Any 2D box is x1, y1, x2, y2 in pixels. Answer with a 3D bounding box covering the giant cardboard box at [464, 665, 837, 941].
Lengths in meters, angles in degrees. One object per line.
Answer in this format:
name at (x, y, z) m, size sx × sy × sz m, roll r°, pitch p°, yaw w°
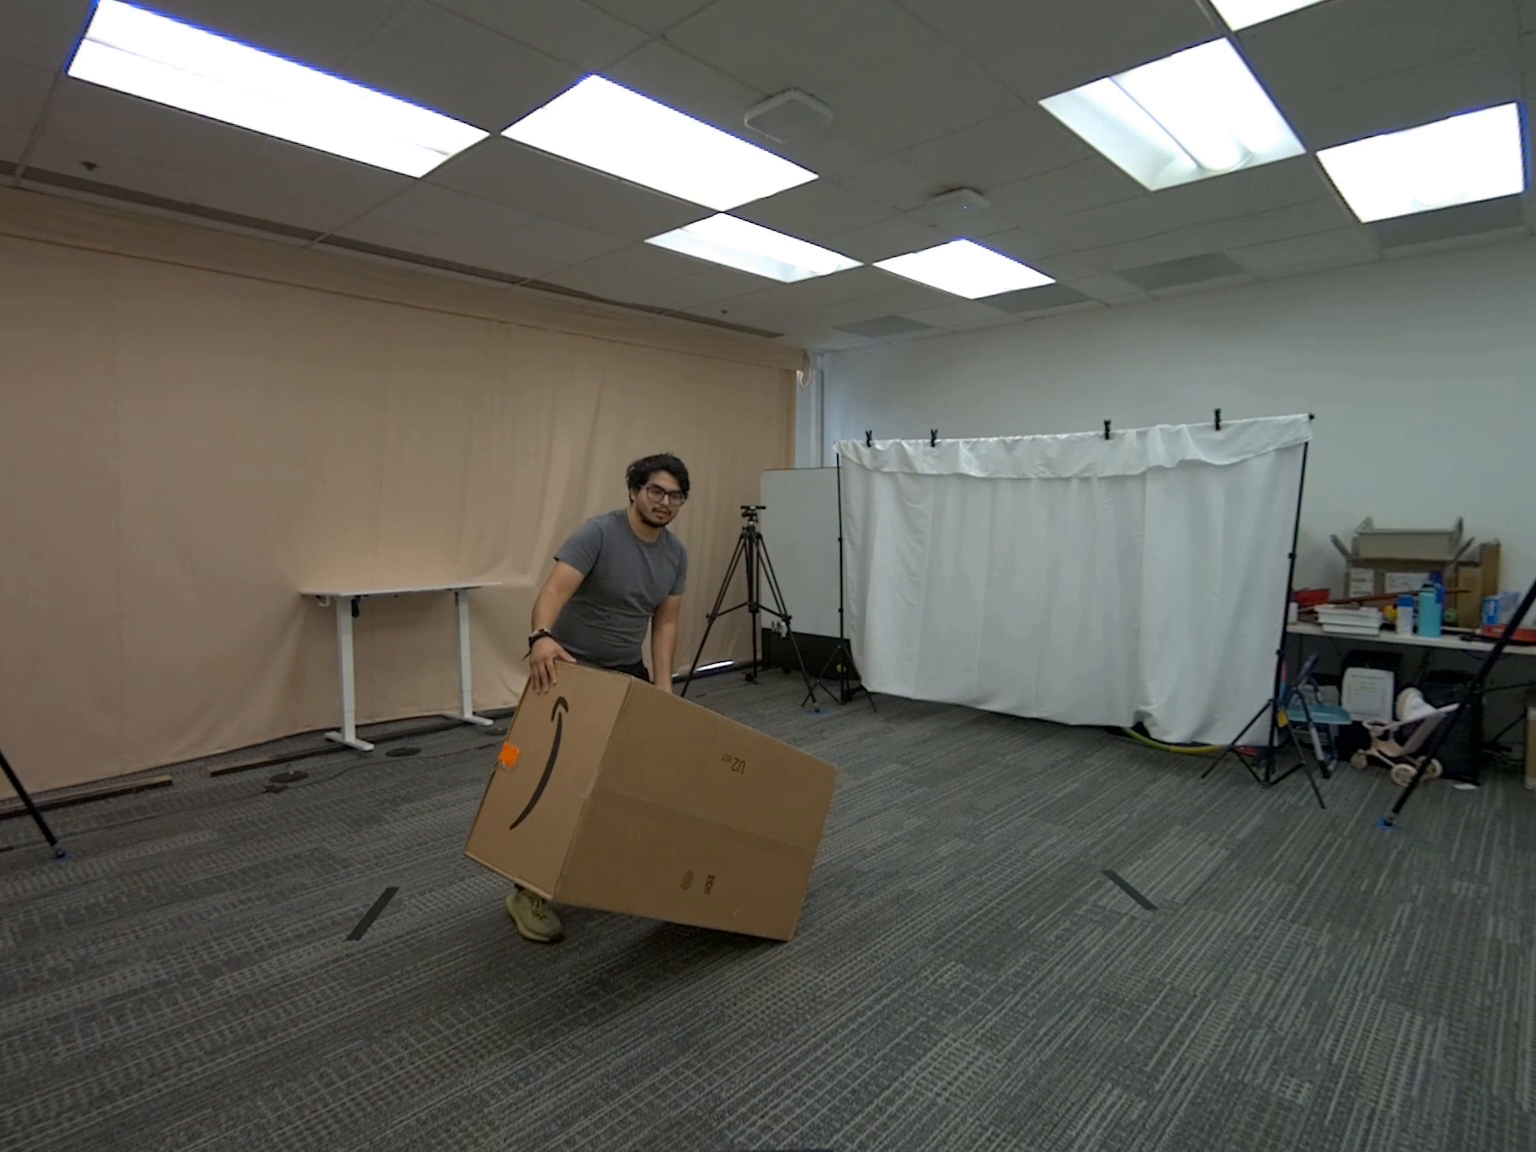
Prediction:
giant cardboard box at (-0.295, 0.707, 2.576) m, size 0.440 × 0.580 × 0.988 m, roll 3°, pitch -21°, yaw 42°
